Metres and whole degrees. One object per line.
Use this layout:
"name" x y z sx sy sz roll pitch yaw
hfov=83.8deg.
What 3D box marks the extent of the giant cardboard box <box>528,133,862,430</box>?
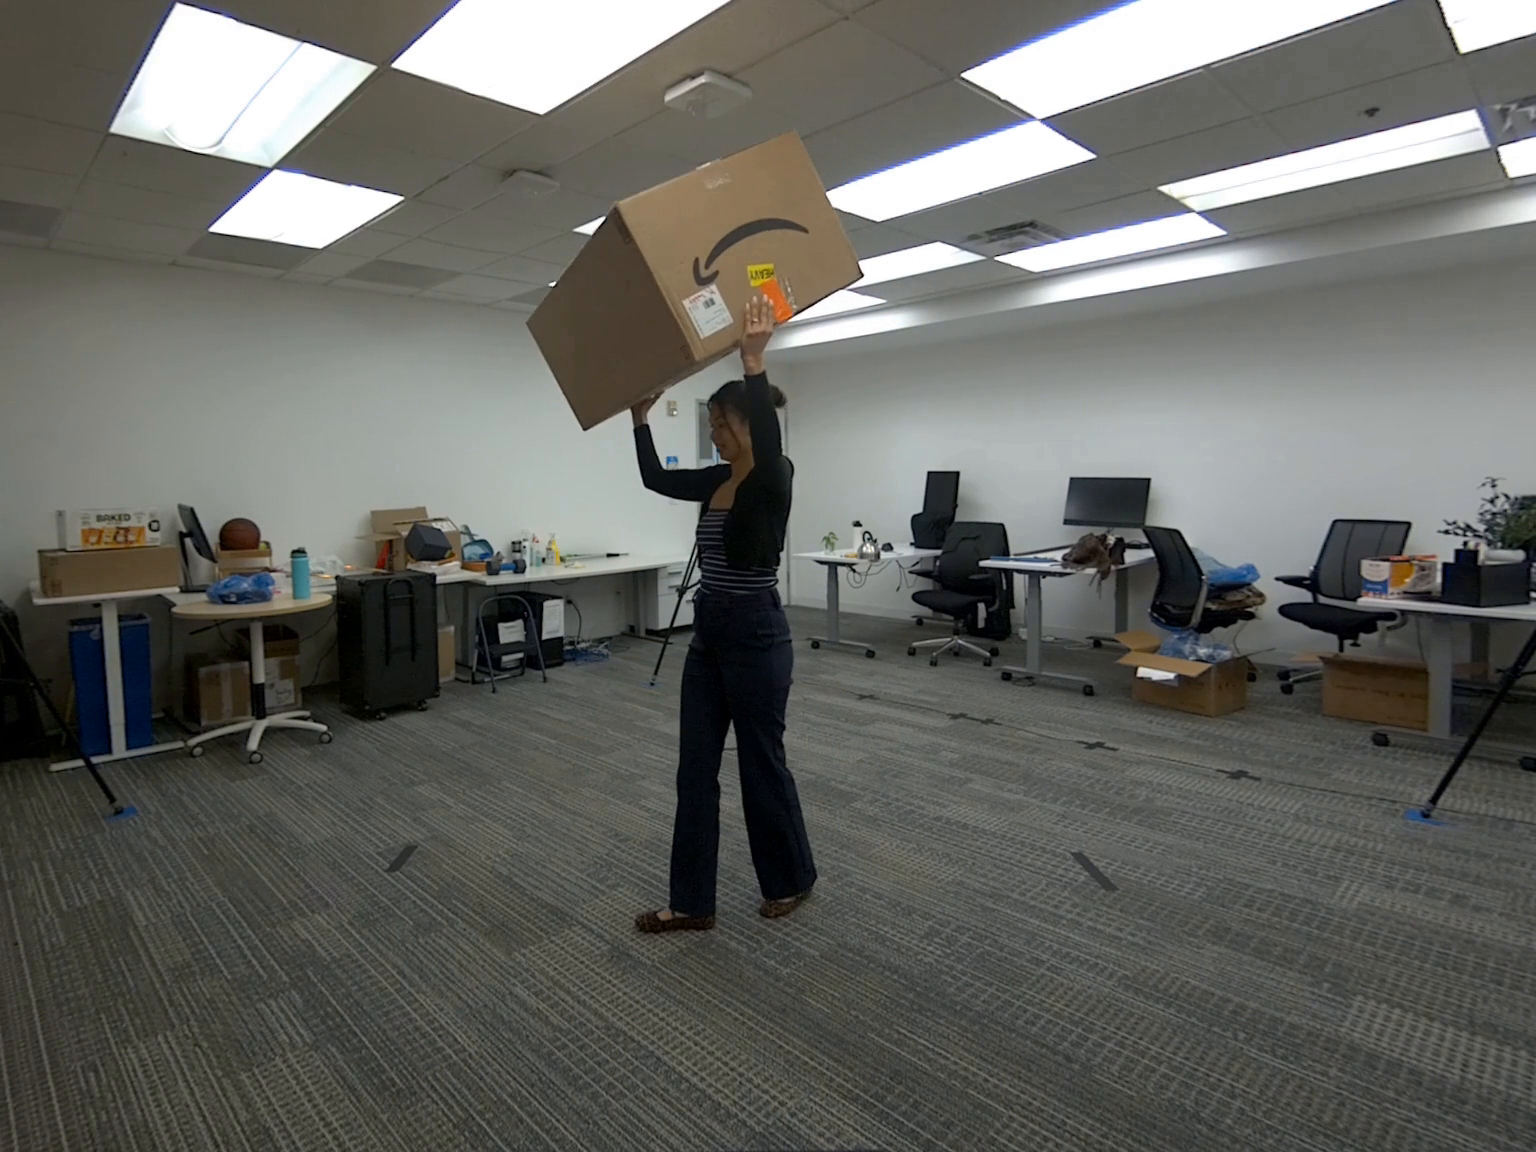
"giant cardboard box" -0.284 -0.839 2.623 0.573 0.420 1.047 -33 13 -23
